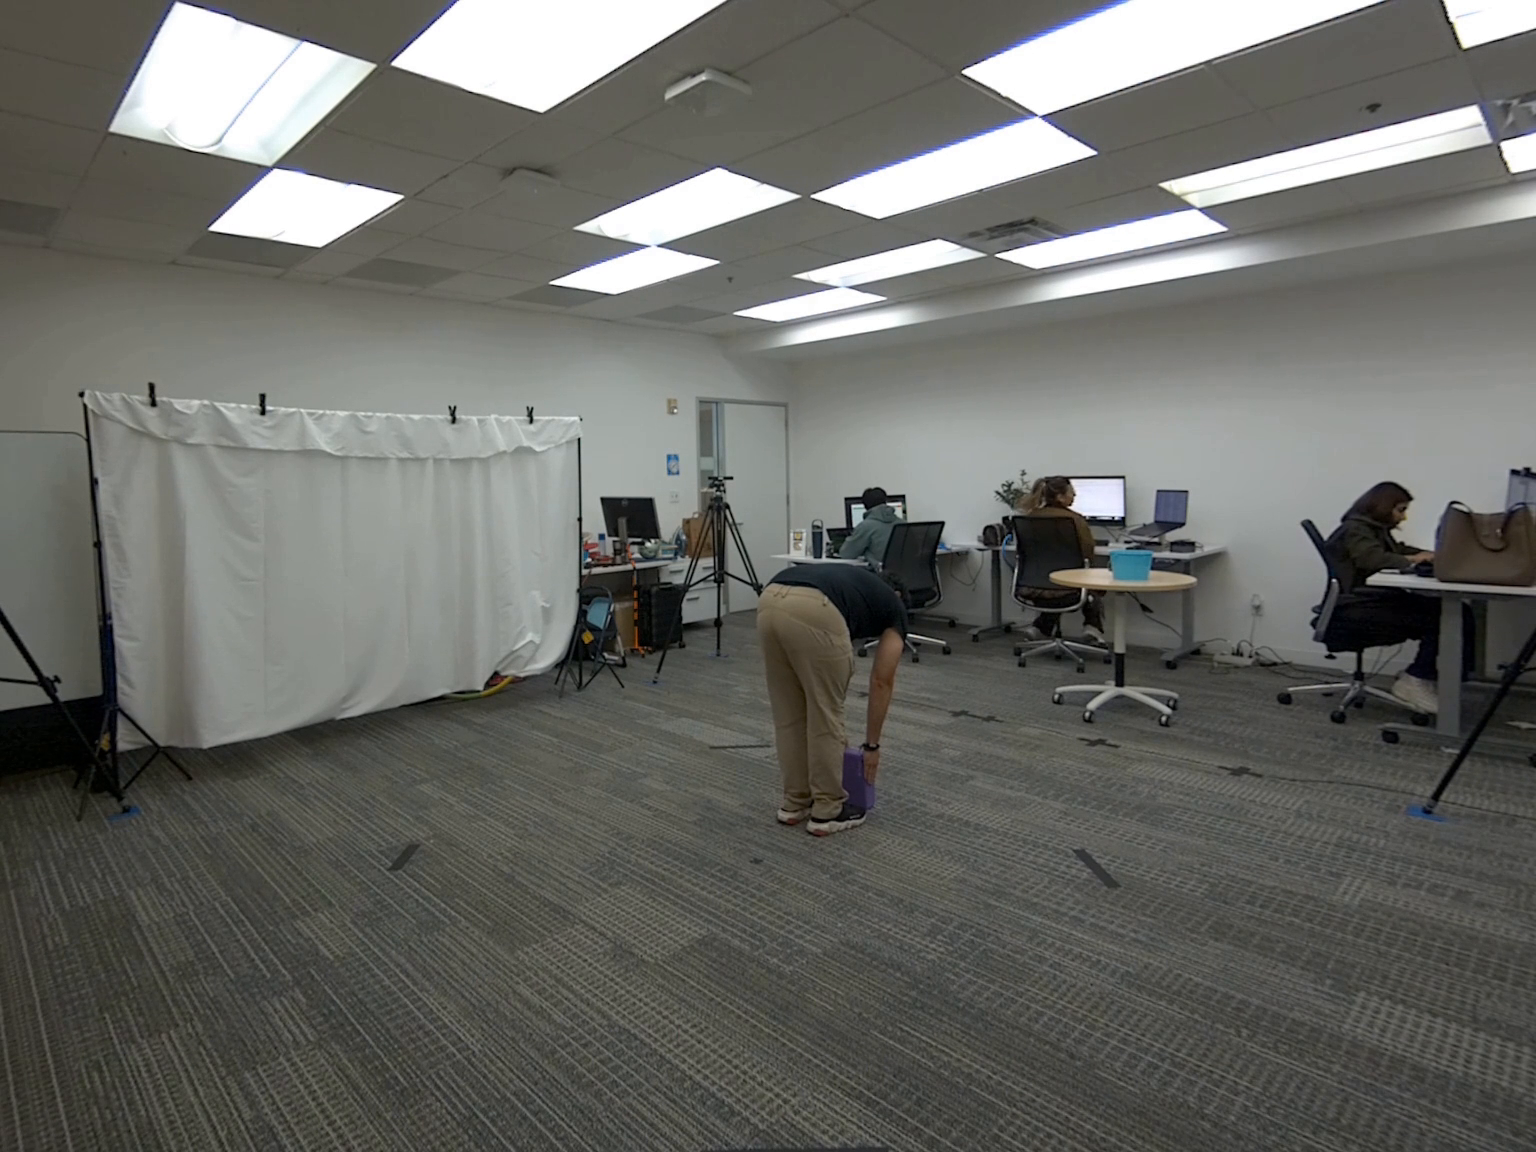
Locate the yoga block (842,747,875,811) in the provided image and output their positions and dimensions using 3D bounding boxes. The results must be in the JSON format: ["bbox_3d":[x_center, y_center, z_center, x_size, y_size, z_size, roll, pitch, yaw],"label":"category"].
[{"bbox_3d":[0.374,0.856,3.621,0.074,0.229,0.153,-3,5,-42],"label":"yoga block"}]
